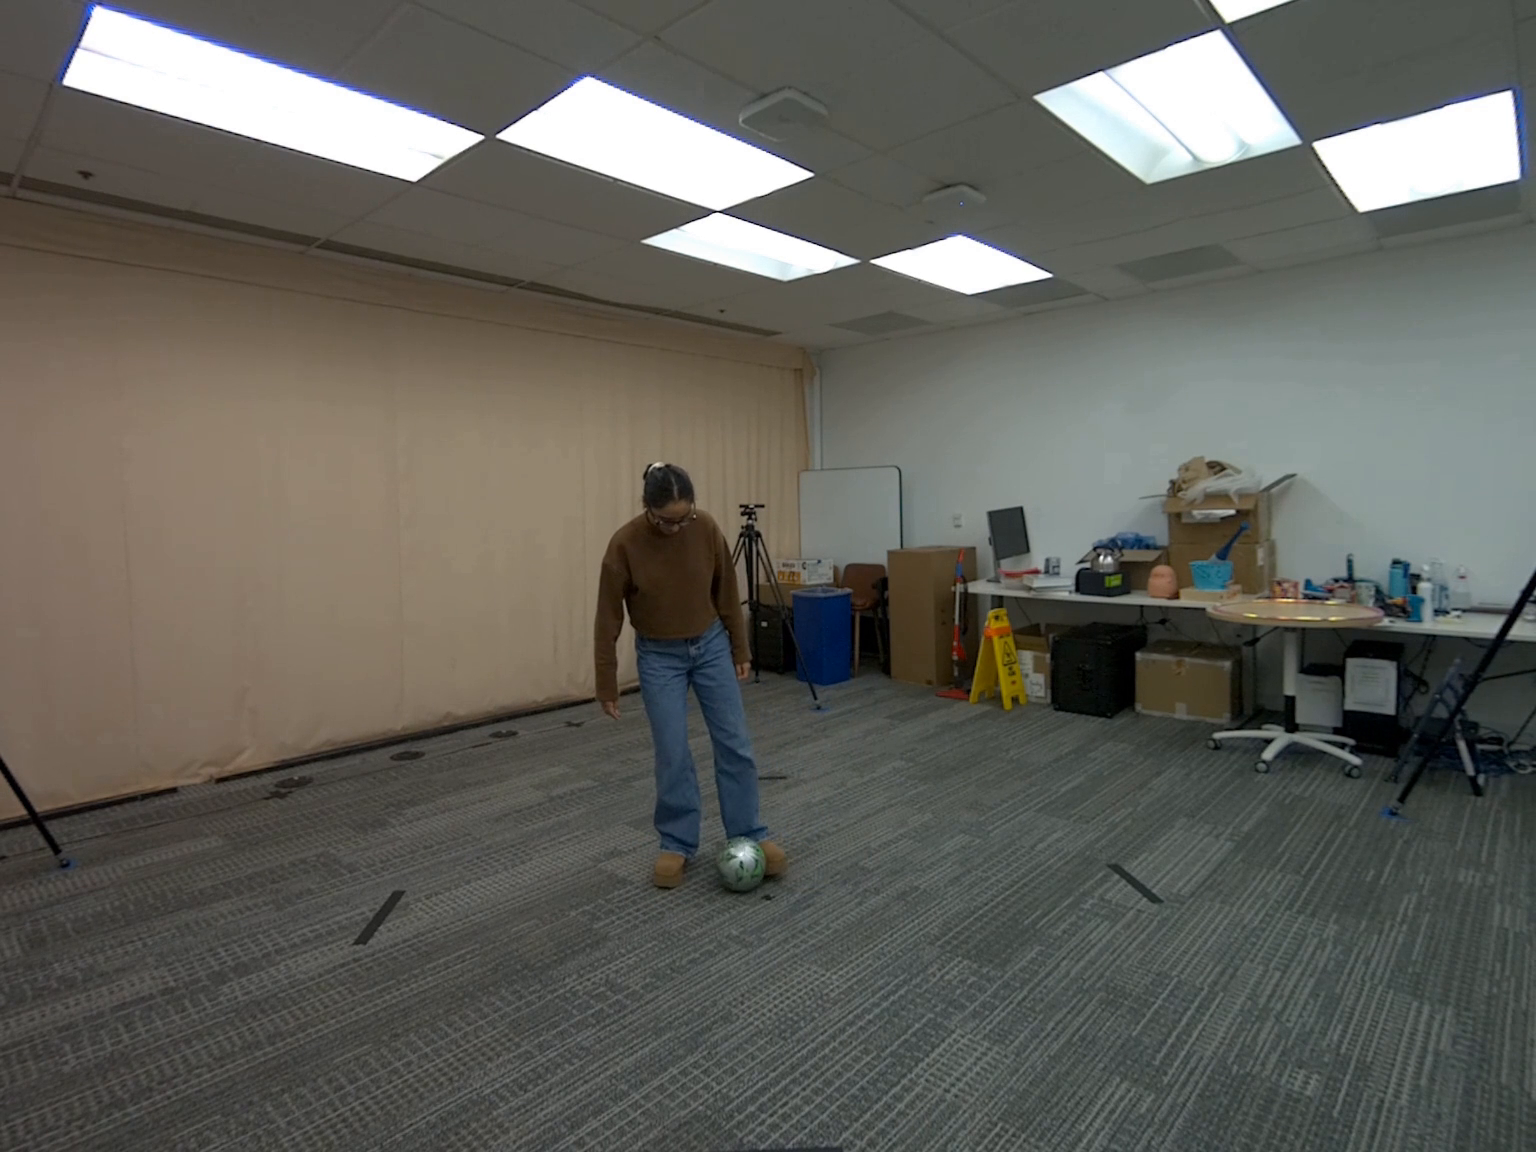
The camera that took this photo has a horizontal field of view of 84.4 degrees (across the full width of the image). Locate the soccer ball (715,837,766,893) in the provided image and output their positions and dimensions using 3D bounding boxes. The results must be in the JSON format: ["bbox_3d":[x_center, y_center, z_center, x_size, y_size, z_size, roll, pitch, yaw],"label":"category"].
[{"bbox_3d":[-0.105,1.037,3.051,0.187,0.187,0.188,-1,4,-2],"label":"soccer ball"}]
